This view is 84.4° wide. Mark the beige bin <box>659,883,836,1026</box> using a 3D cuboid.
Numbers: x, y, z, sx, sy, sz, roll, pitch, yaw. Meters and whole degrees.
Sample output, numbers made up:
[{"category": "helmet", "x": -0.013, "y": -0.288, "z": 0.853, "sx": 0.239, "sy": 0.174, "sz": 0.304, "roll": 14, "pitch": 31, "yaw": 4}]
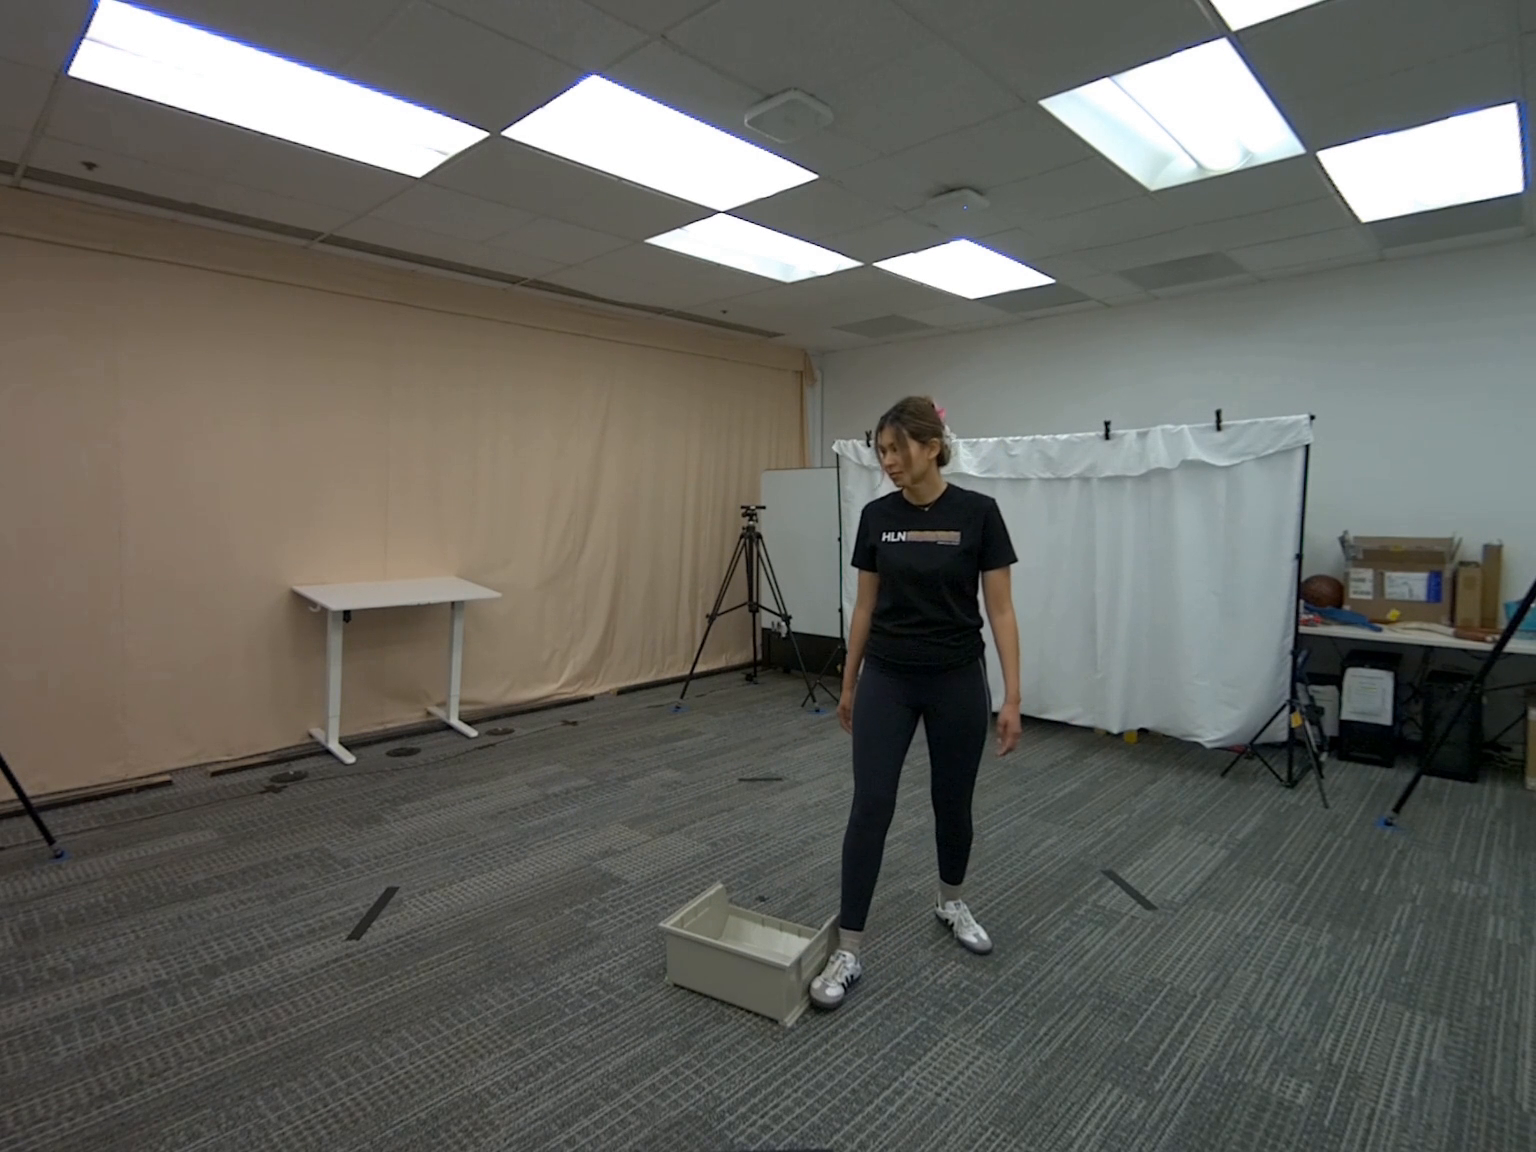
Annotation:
[{"category": "beige bin", "x": -0.040, "y": 1.100, "z": 2.492, "sx": 0.434, "sy": 0.188, "sz": 0.368, "roll": 3, "pitch": 6, "yaw": 29}]
